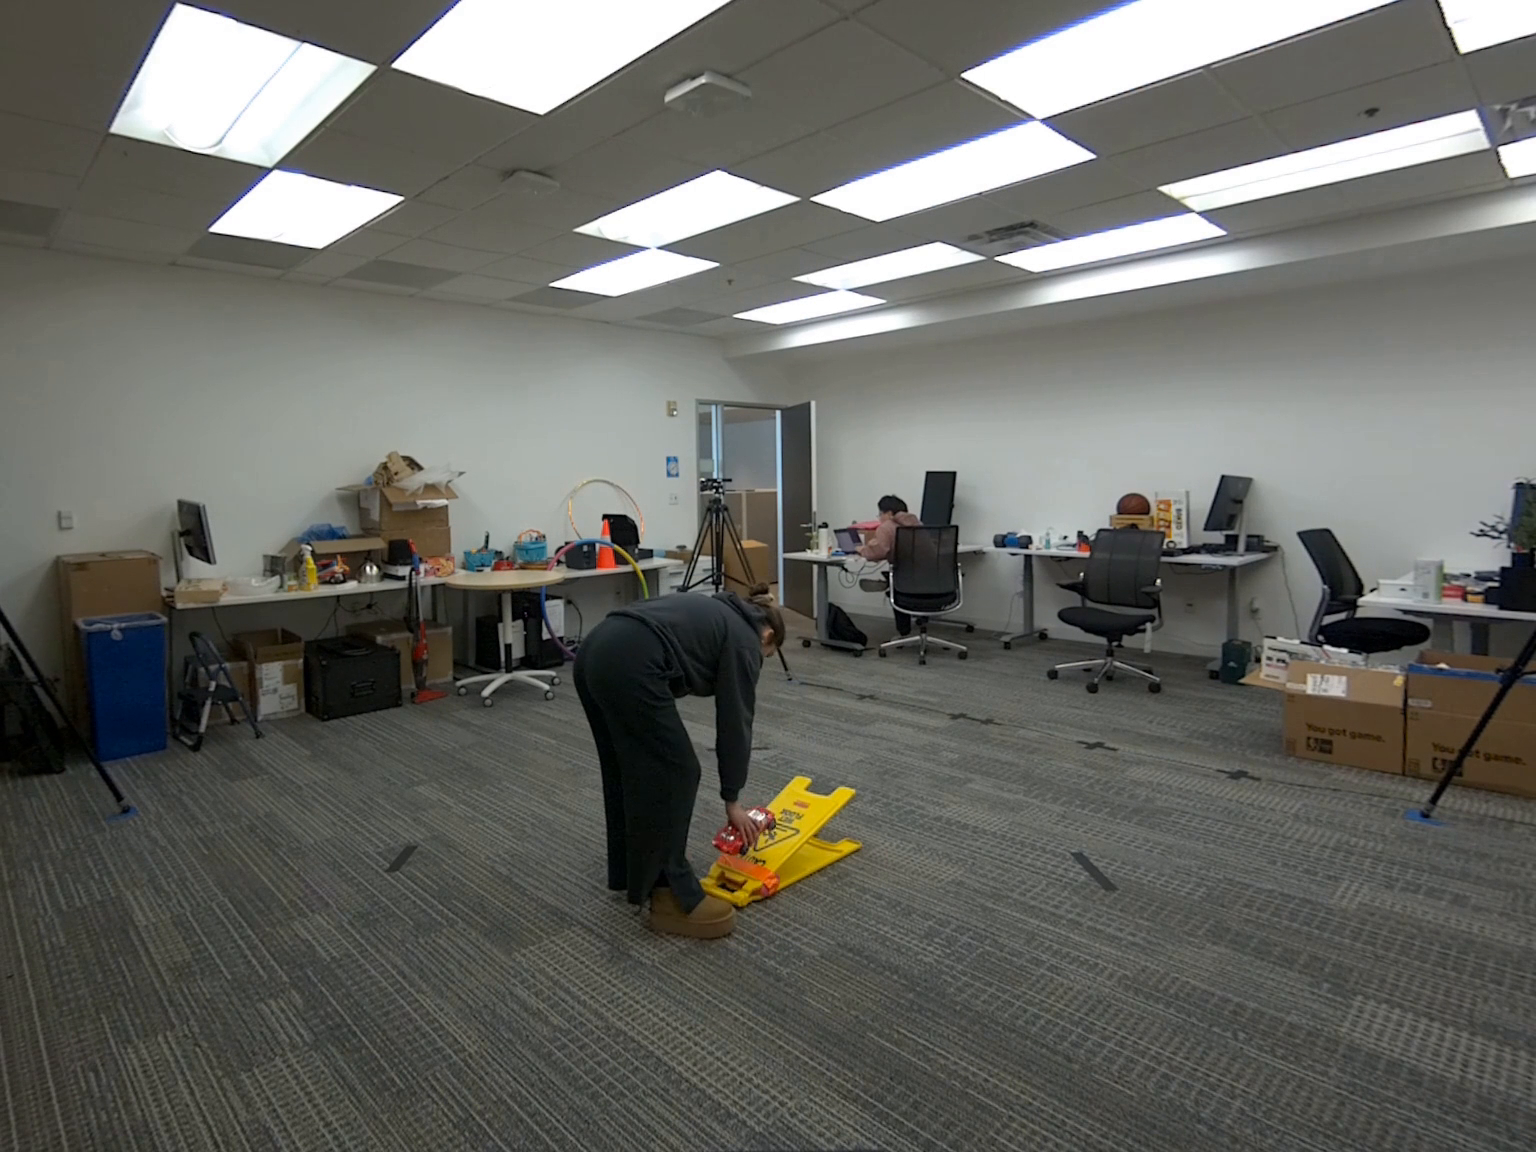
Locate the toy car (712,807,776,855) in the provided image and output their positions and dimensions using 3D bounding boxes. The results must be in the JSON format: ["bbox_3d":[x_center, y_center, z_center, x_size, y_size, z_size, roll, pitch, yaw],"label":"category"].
[{"bbox_3d":[-0.082,0.885,2.907,0.135,0.082,0.249,13,20,39],"label":"toy car"}]
